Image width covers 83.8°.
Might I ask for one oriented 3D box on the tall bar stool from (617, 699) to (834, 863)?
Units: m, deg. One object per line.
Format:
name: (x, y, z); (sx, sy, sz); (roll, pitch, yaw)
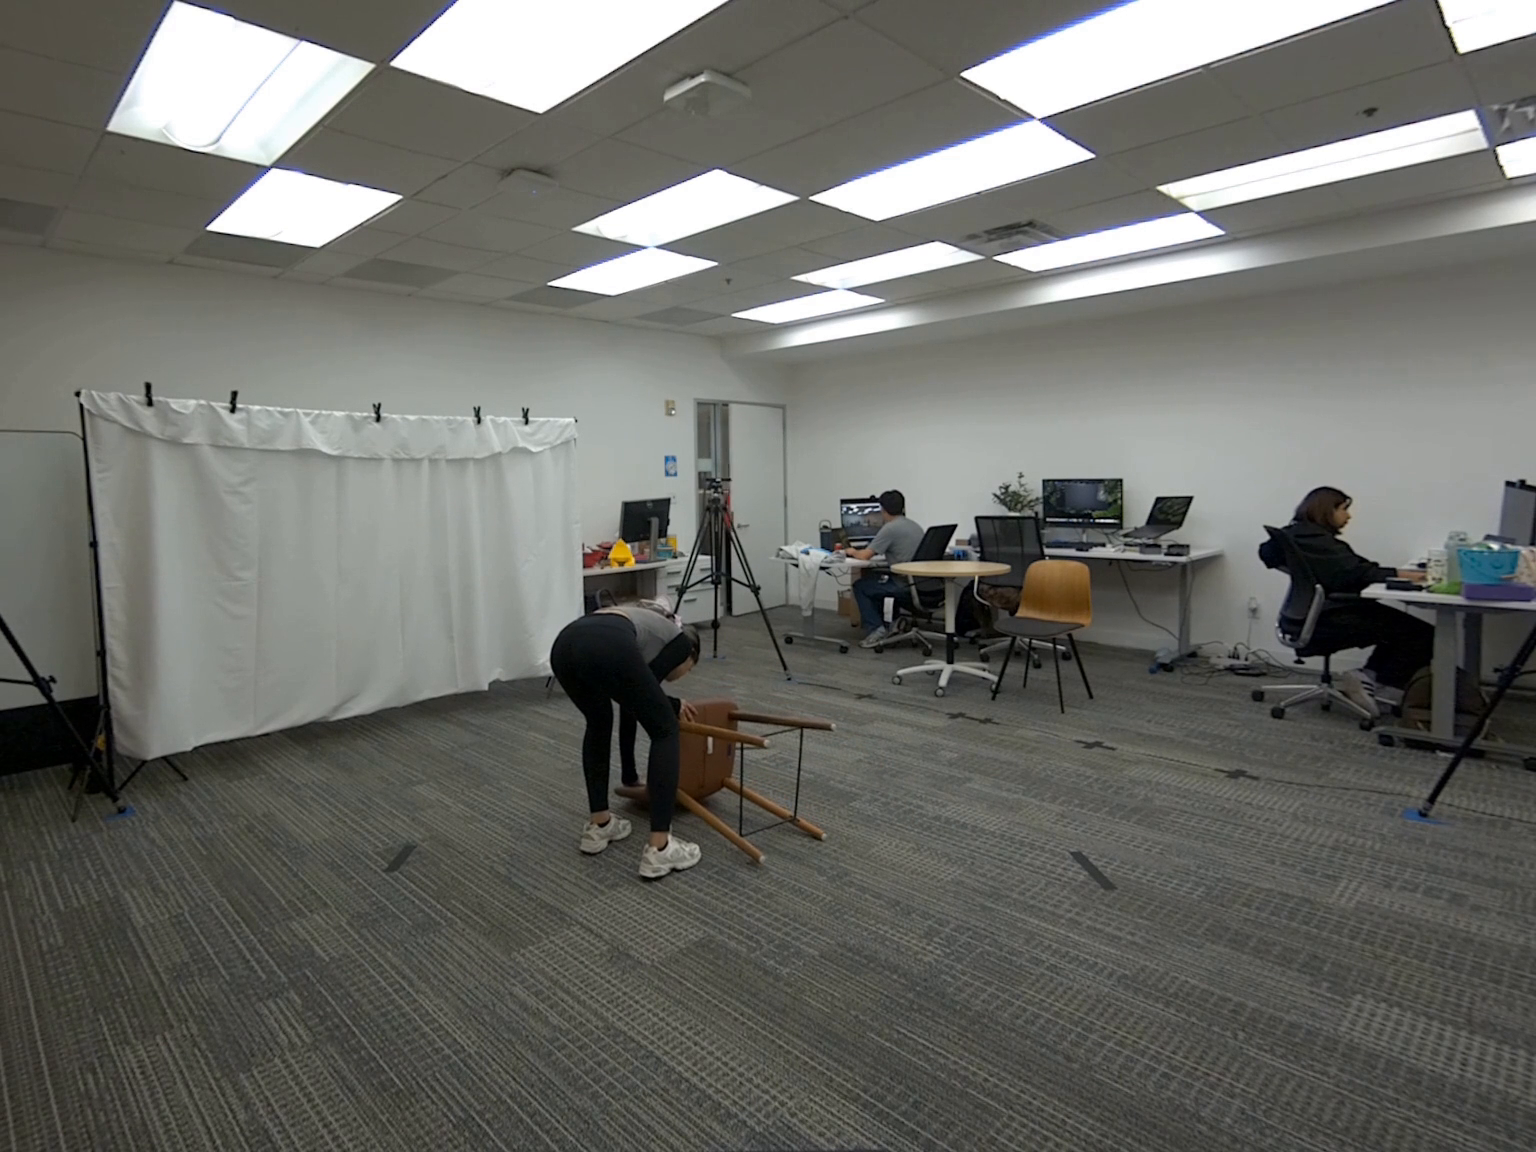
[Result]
tall bar stool: (-0.205, 0.762, 3.473); (0.917, 0.467, 0.443); (5, 4, 44)
